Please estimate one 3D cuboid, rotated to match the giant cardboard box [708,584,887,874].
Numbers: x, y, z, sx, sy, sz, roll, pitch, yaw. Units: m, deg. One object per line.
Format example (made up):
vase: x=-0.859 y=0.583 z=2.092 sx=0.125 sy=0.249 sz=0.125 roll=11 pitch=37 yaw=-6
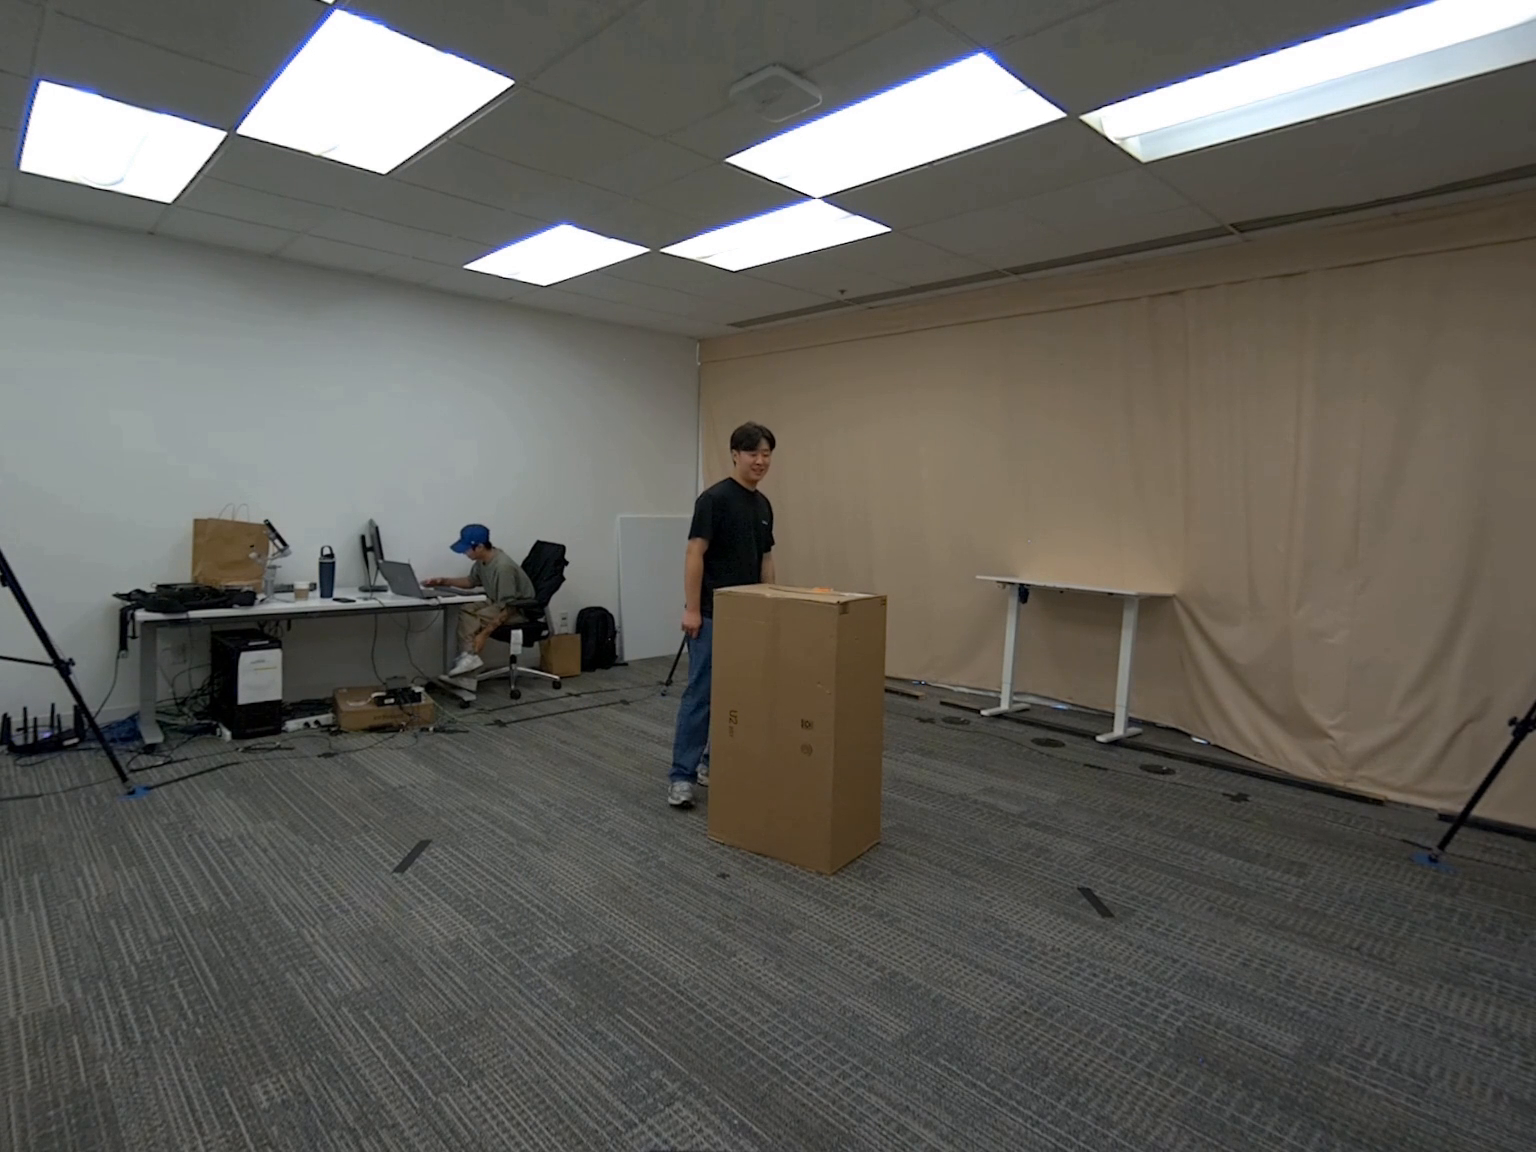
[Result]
giant cardboard box: x=0.120 y=0.573 z=3.430 sx=0.598 sy=1.025 sz=0.437 roll=4 pitch=3 yaw=35
